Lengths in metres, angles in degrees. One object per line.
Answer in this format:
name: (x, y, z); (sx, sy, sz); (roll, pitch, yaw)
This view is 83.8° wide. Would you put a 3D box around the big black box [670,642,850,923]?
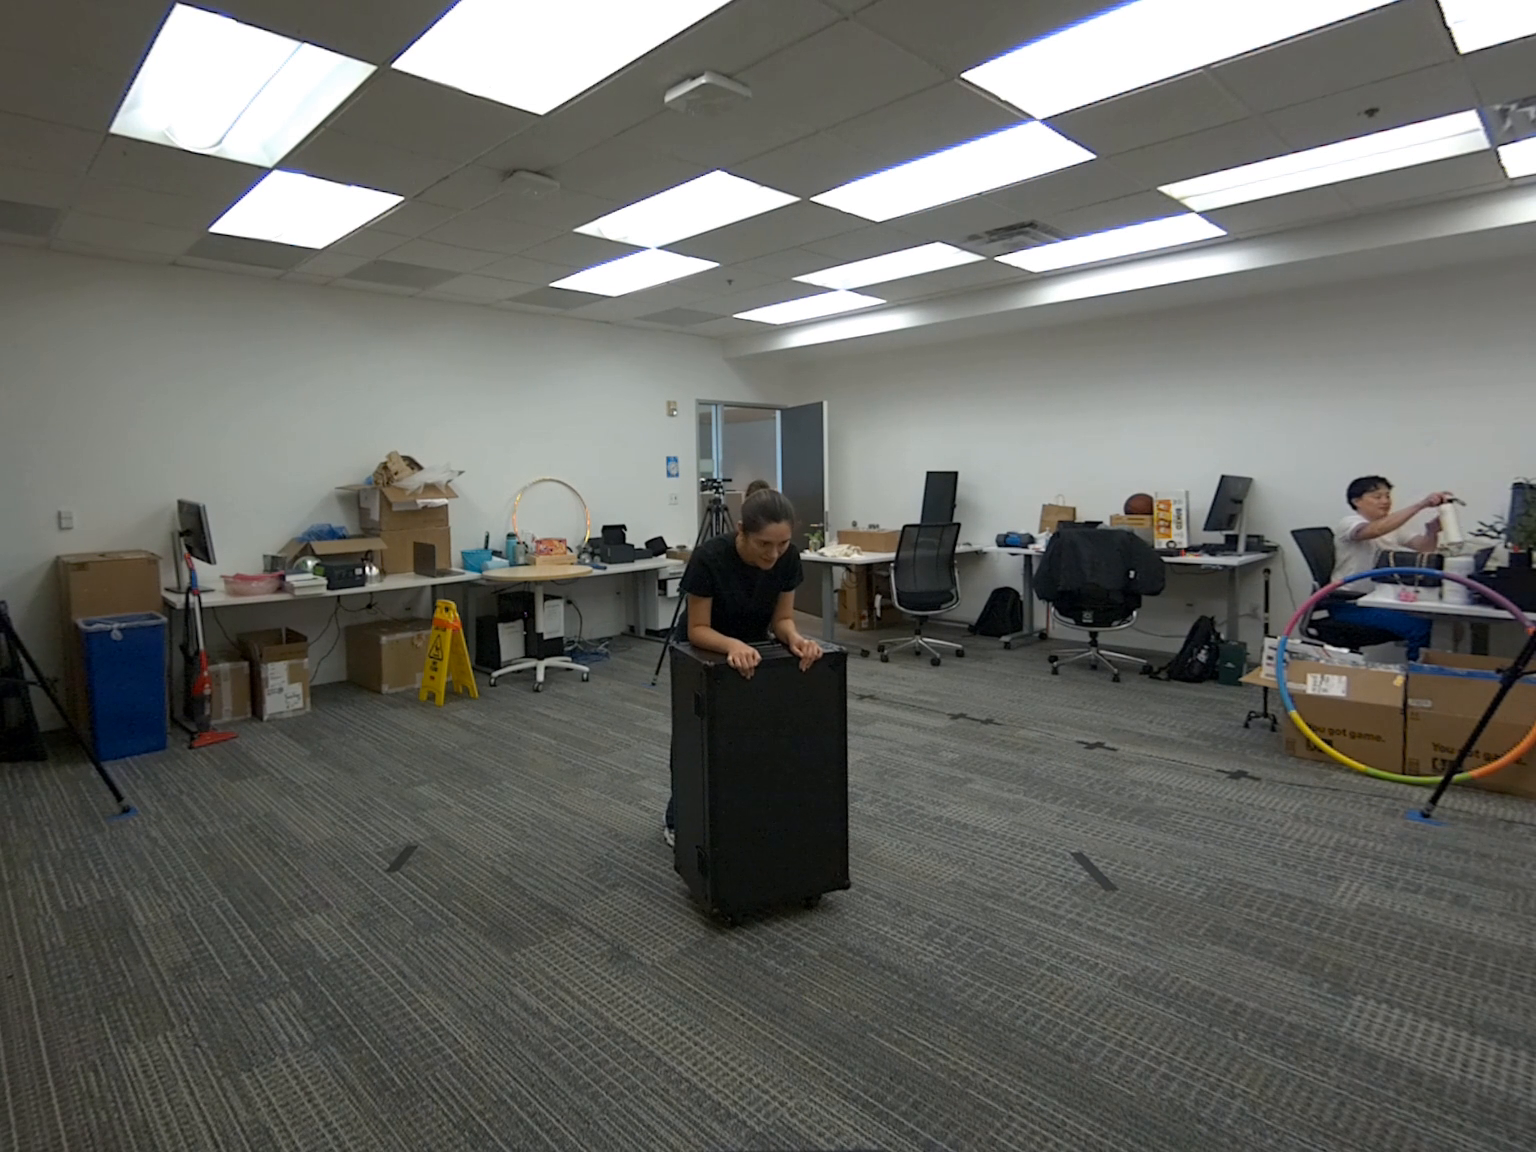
big black box: (-0.036, 0.591, 2.828); (0.511, 0.857, 0.406); (-3, 5, -23)
